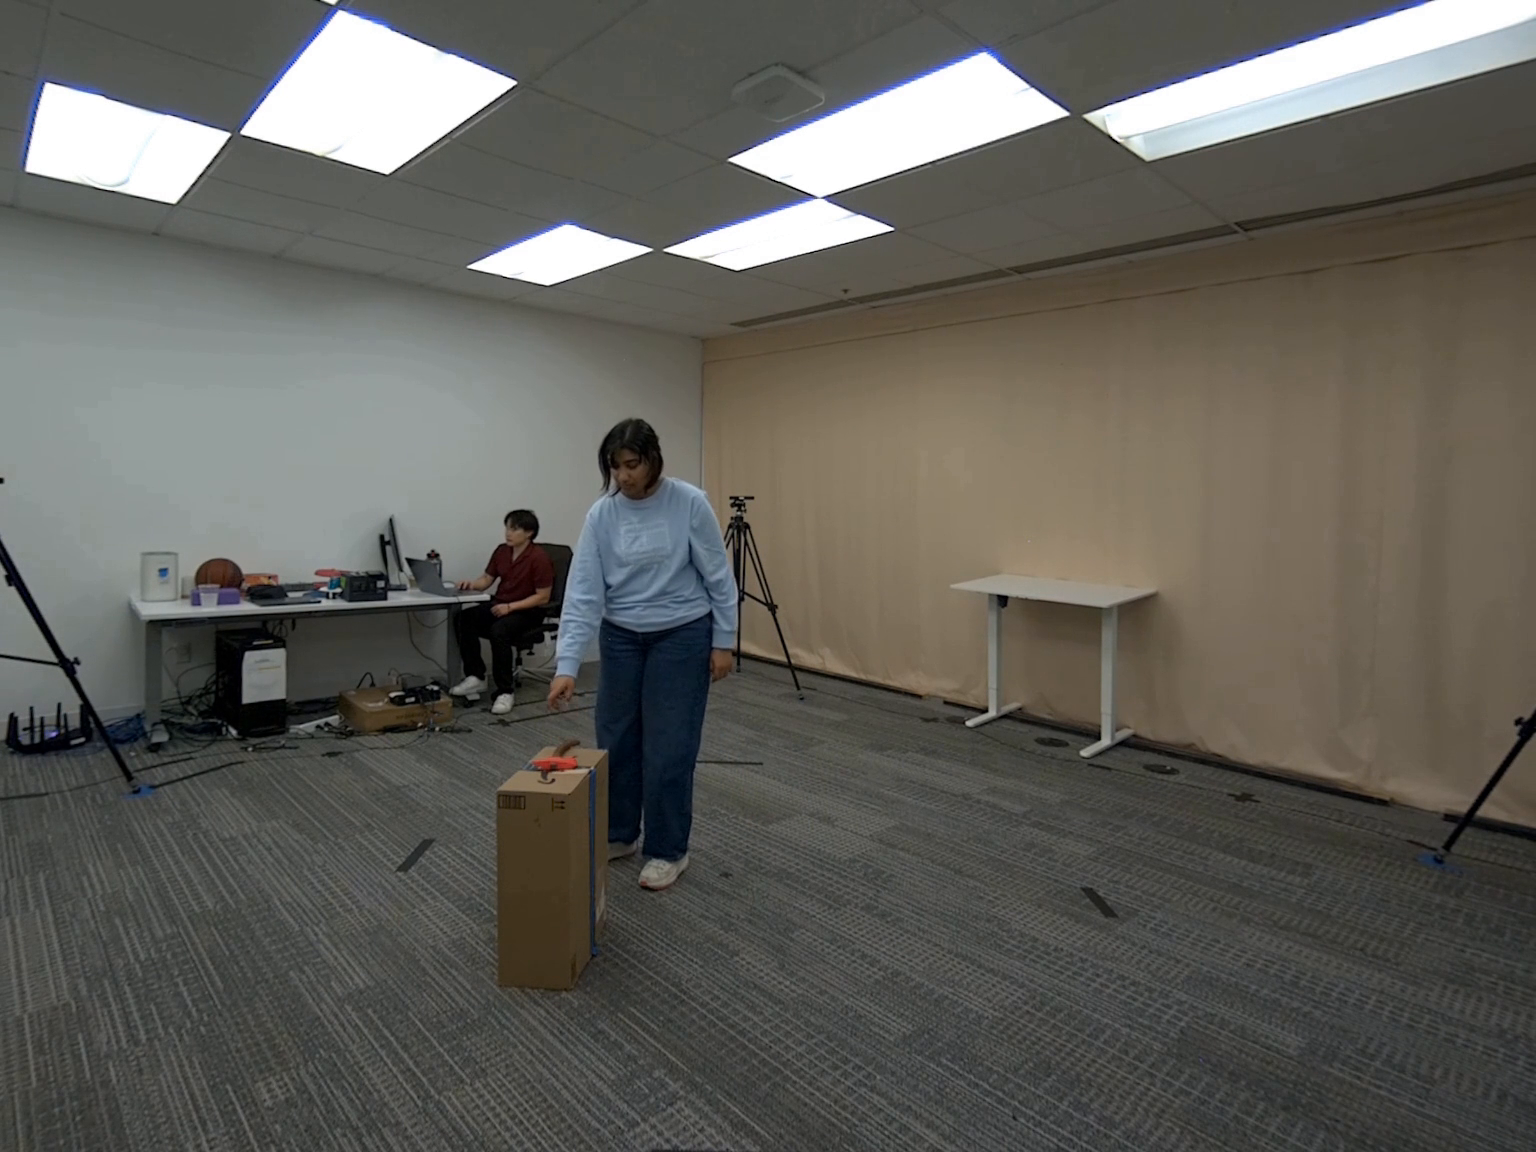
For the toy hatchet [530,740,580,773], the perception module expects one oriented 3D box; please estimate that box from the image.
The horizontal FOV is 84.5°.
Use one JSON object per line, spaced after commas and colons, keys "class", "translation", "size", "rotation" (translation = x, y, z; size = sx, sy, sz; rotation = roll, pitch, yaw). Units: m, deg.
{"class": "toy hatchet", "translation": [-0.630, 0.562, 2.637], "size": [0.132, 0.029, 0.267], "rotation": [2, 5, 13]}
